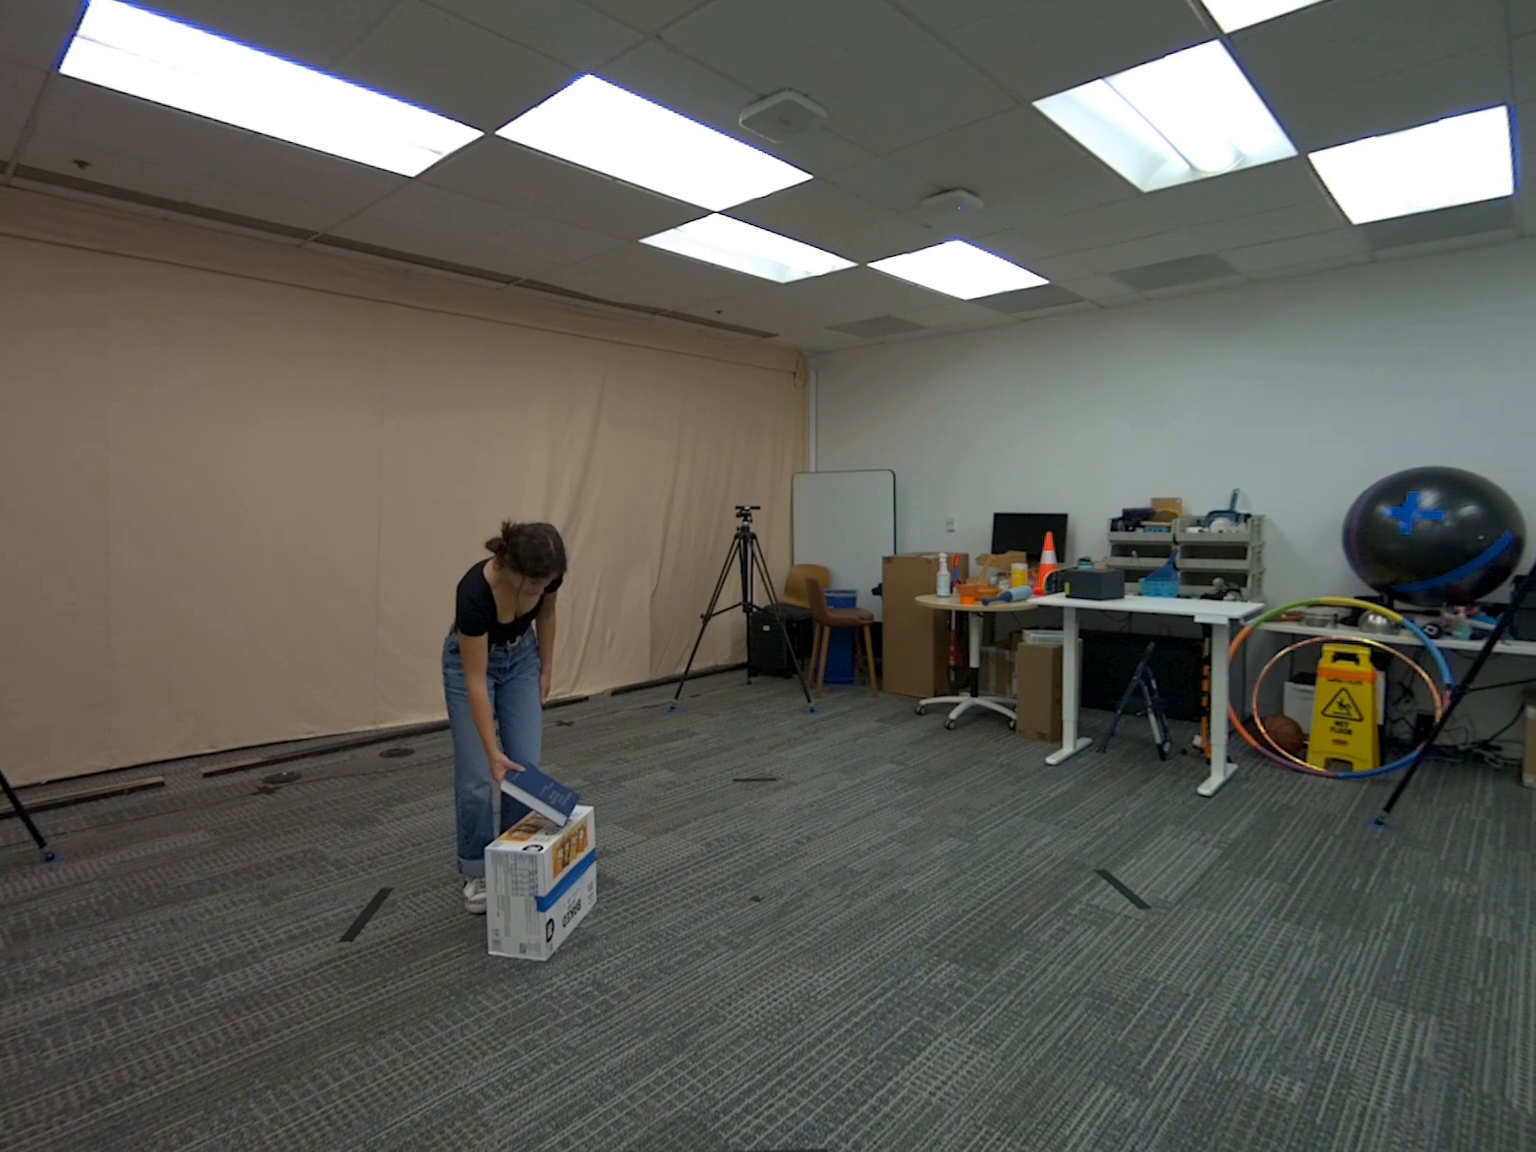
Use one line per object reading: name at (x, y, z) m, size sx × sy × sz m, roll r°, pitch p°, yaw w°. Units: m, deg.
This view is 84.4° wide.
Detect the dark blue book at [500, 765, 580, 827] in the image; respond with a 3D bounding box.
dark blue book at (-0.756, 0.708, 2.752) m, size 0.245 × 0.045 × 0.163 m, roll 32°, pitch 9°, yaw -1°
